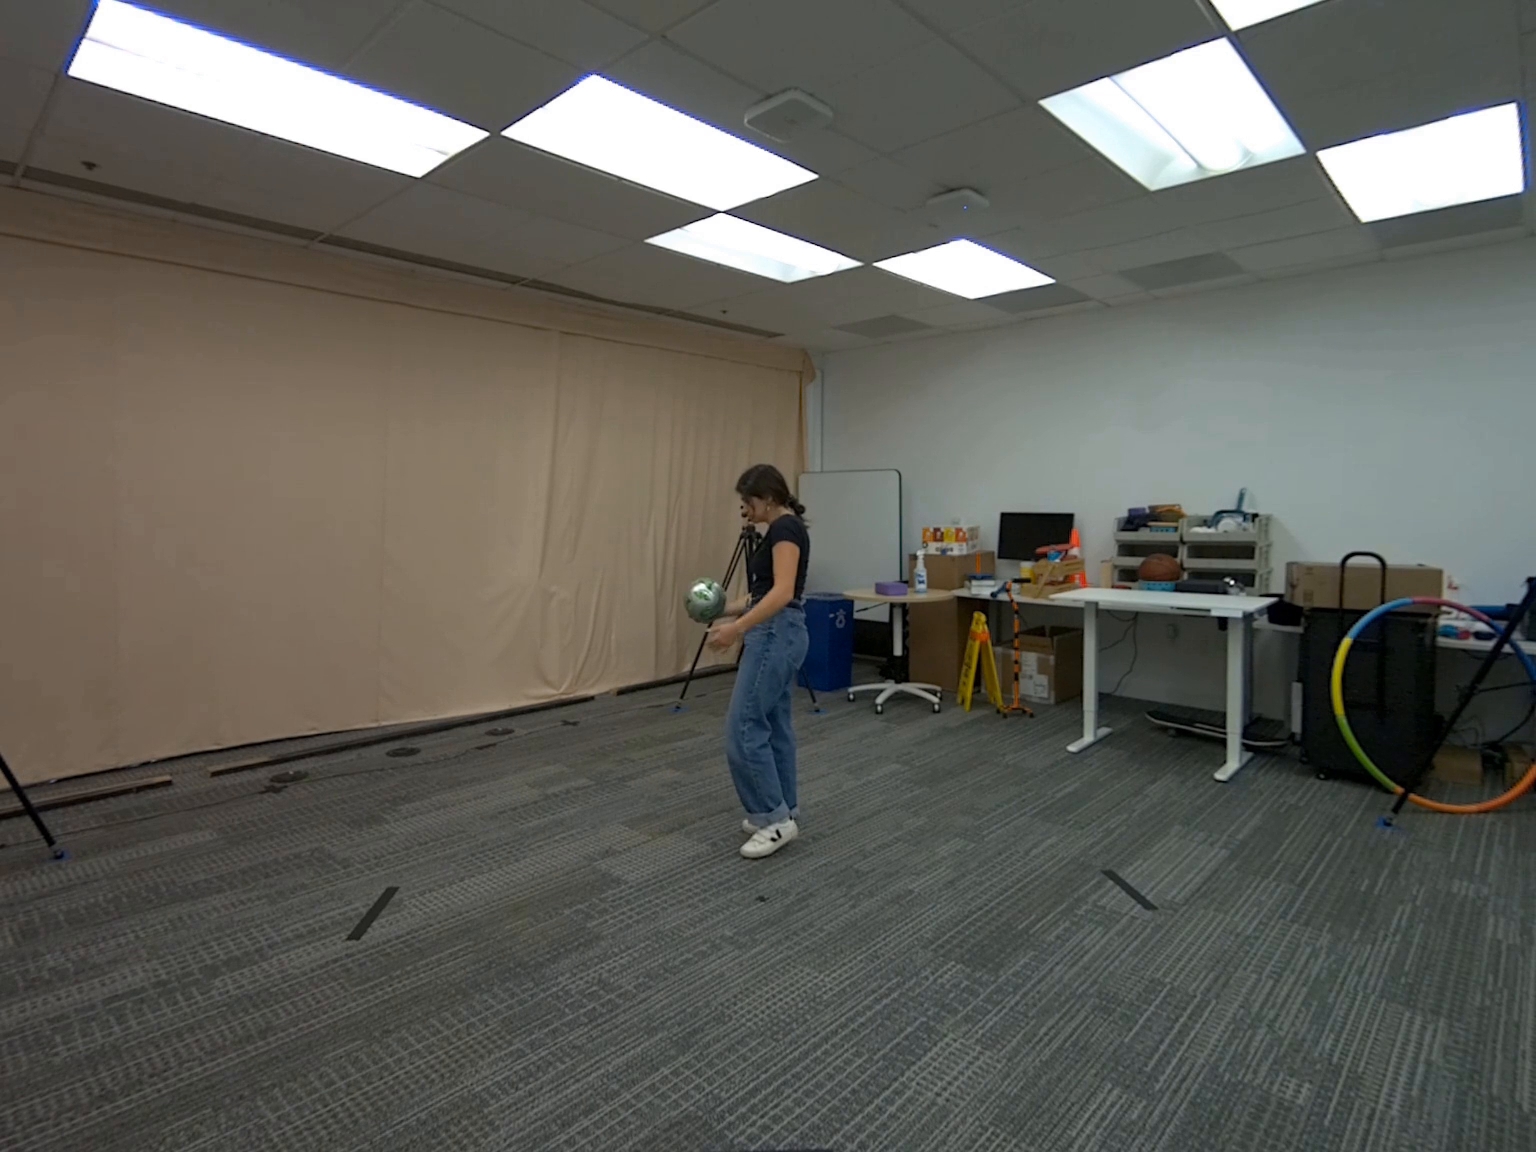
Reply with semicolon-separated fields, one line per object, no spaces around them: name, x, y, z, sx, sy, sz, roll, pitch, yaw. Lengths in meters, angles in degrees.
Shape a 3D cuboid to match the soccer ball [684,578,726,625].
soccer ball;-0.243;0.116;3.668;0.187;0.187;0.188;0;4;-2
